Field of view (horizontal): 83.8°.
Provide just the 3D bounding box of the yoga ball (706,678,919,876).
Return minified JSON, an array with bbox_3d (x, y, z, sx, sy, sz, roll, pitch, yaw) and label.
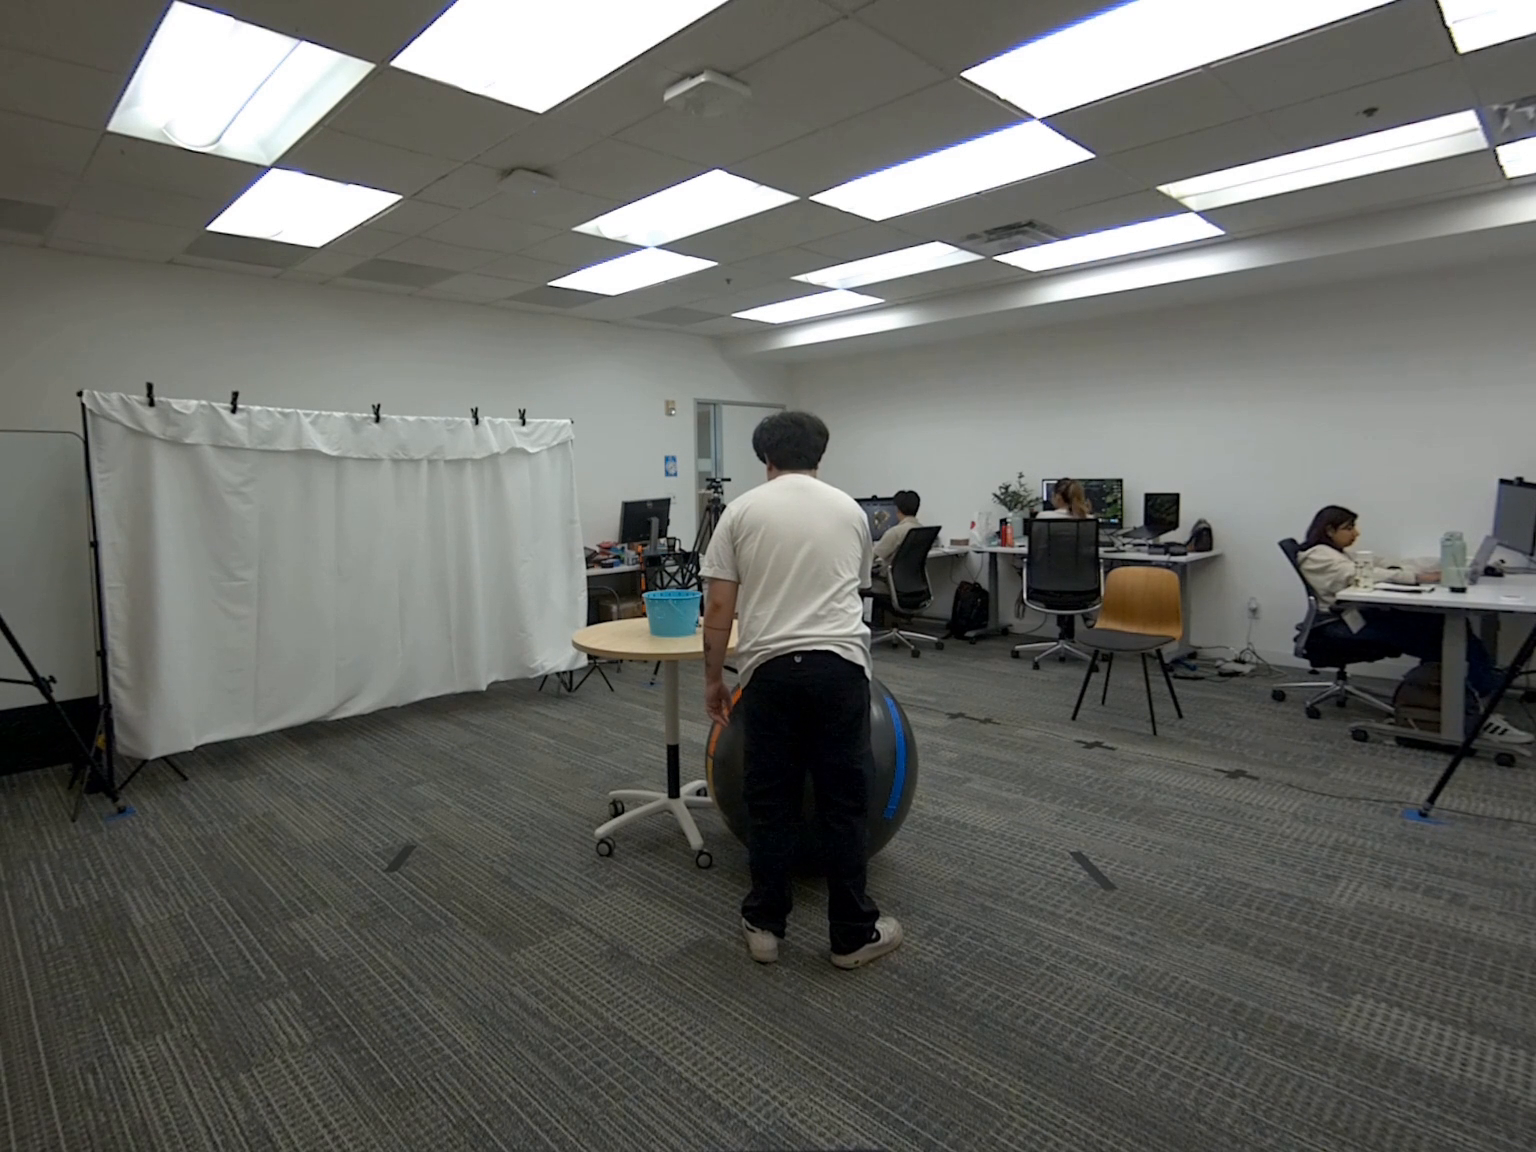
[{"bbox_3d":[0.159,0.669,3.088,0.757,0.755,0.762,-1,5,-2],"label":"yoga ball"}]
